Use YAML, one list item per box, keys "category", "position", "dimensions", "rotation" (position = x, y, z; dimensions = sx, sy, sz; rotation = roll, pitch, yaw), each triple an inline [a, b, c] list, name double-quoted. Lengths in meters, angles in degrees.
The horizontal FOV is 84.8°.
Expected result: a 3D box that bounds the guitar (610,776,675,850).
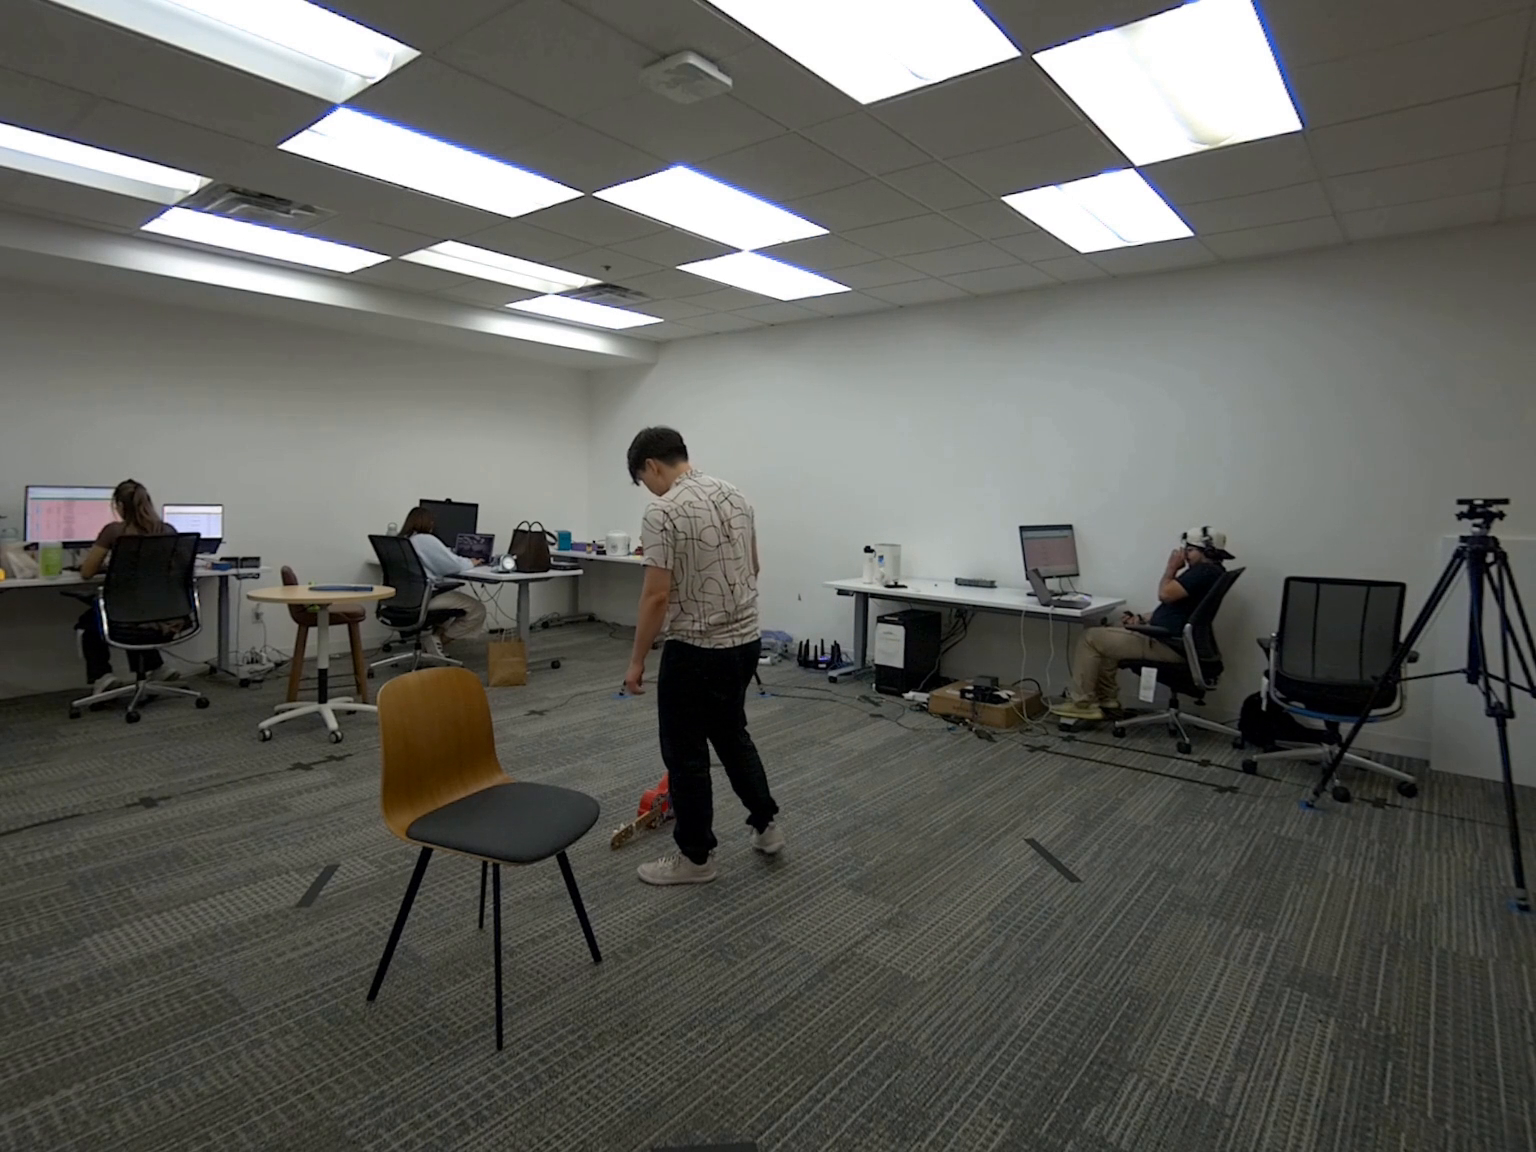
- category: "guitar"
  position: [-0.497, 0.938, 3.461]
  dimensions: [0.073, 0.192, 0.485]
  rotation: [8, 9, 32]
